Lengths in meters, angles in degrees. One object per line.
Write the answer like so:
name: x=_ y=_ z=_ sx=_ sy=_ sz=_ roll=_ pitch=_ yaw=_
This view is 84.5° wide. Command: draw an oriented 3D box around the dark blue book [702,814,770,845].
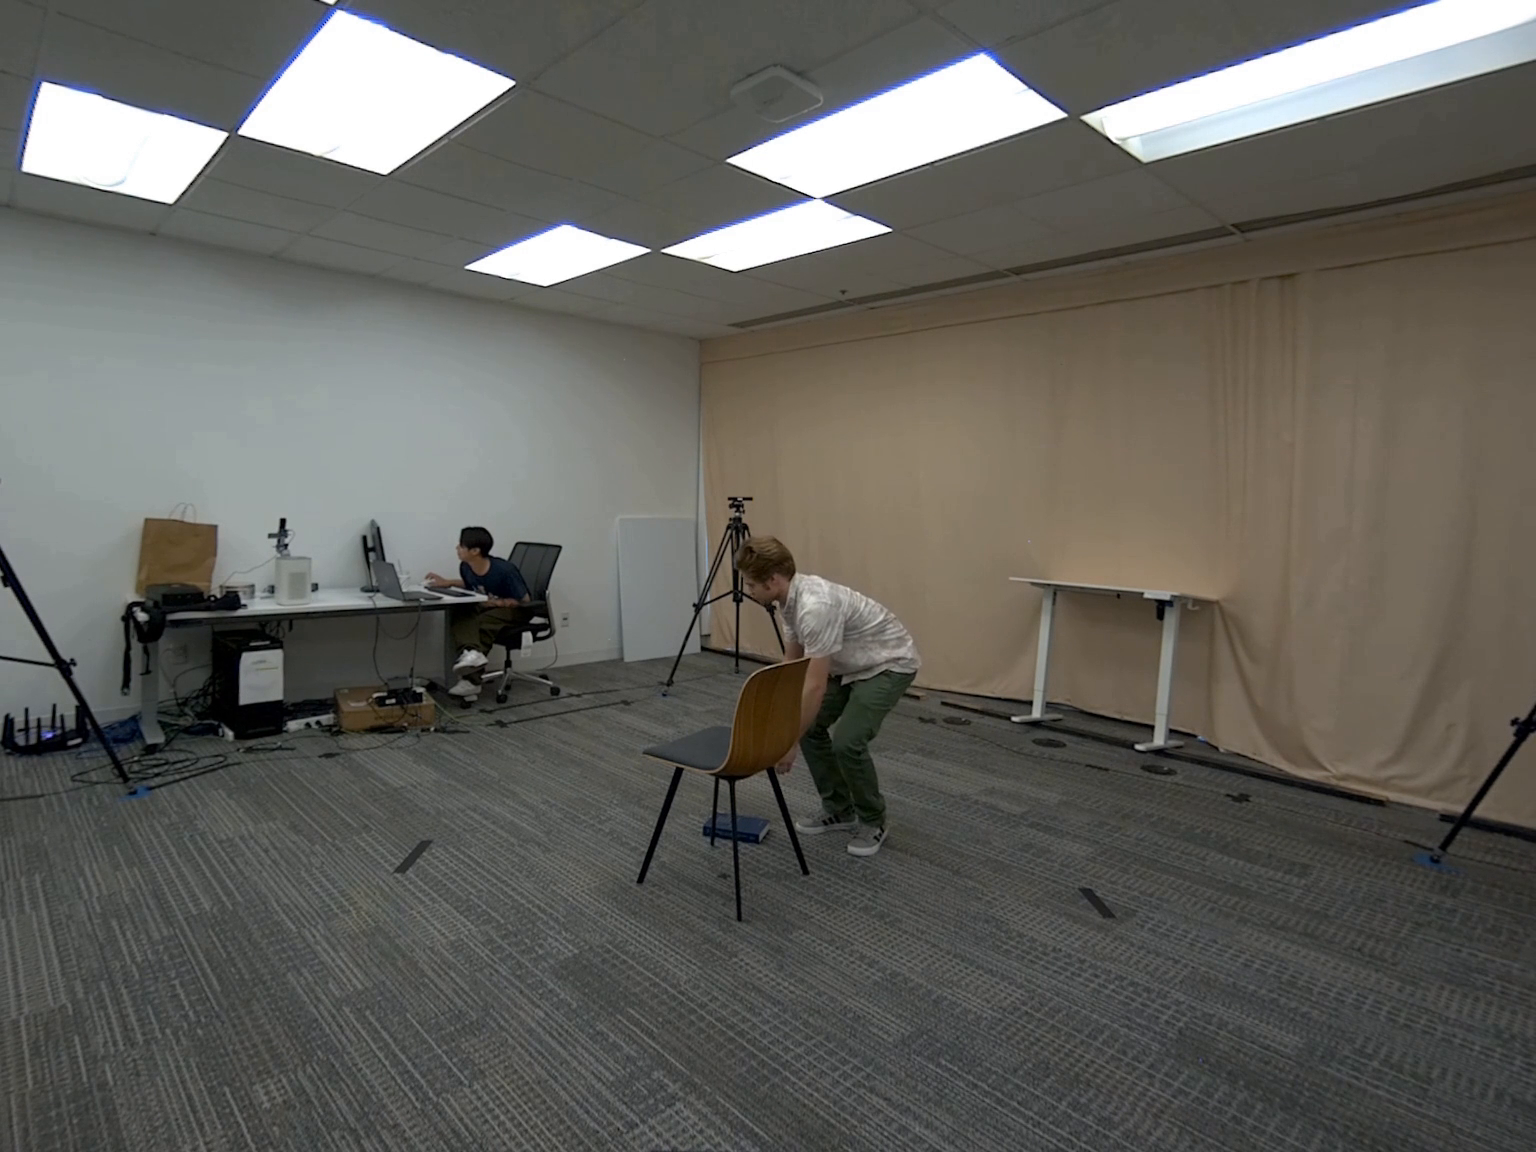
dark blue book: x=-0.134 y=1.044 z=3.514 sx=0.249 sy=0.045 sz=0.161 roll=2 pitch=4 yaw=18
